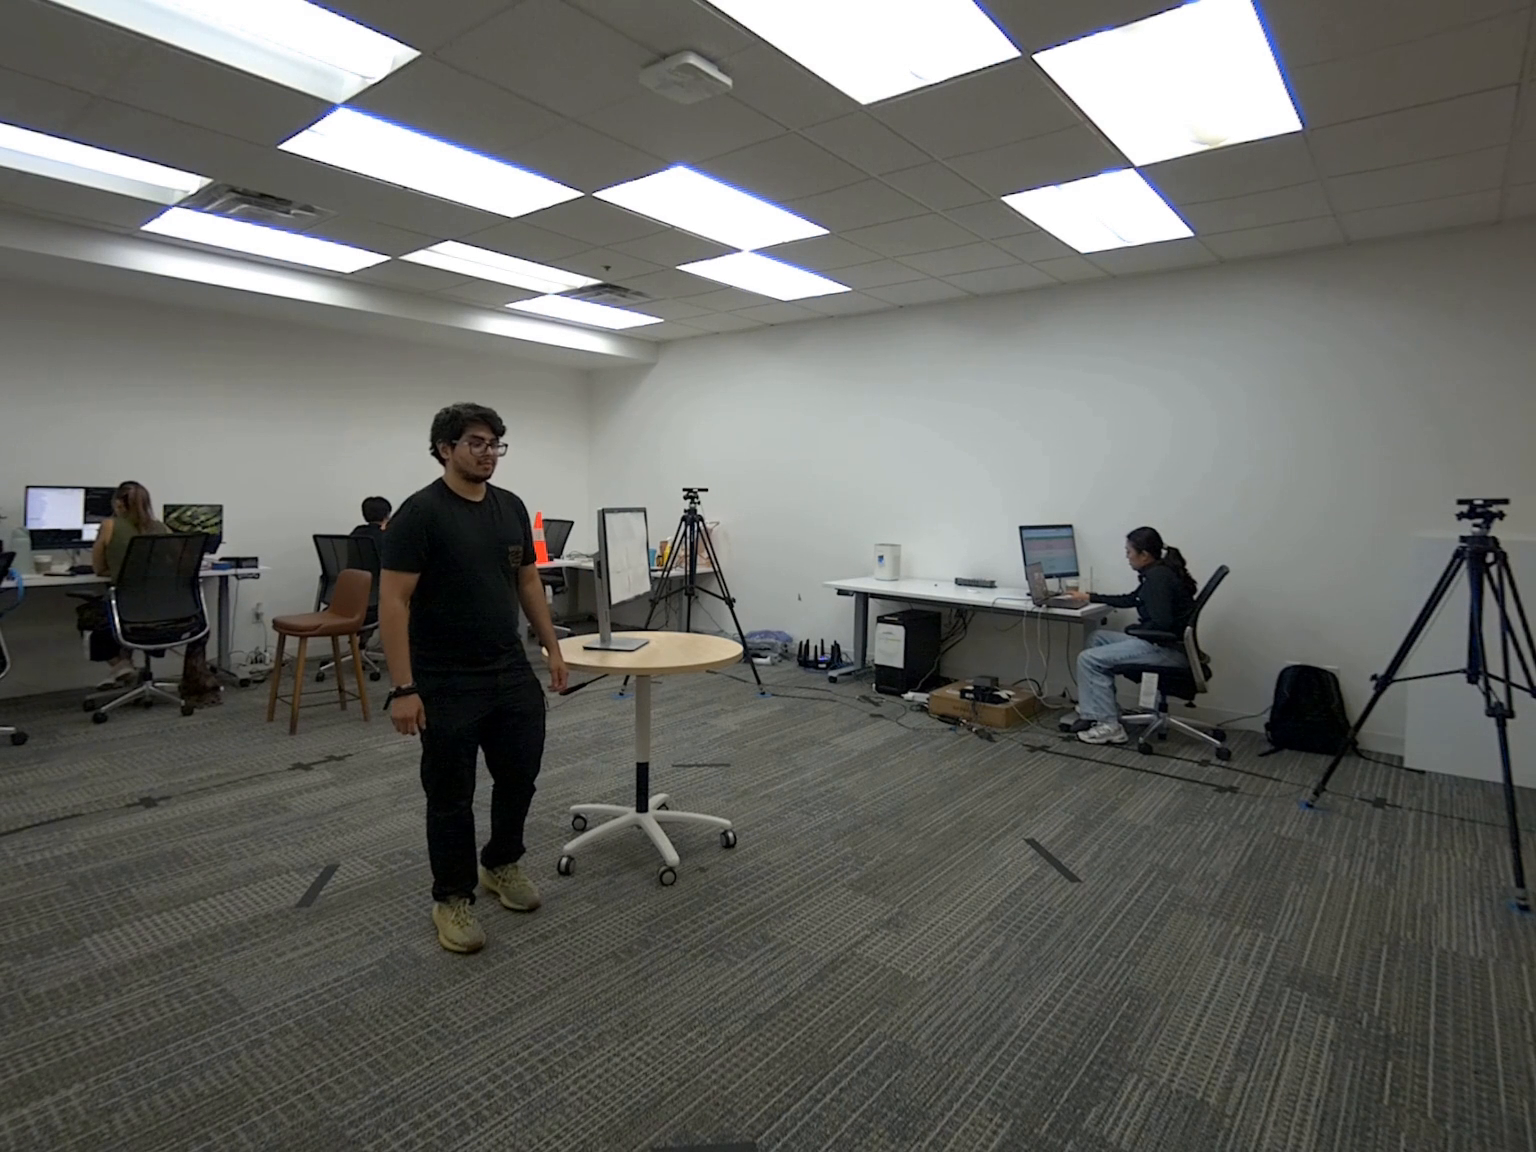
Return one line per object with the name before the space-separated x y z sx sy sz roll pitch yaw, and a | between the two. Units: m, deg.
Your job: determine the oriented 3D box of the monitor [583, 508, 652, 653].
monitor | -0.619 0.004 3.299 0.212 0.553 0.561 -2 3 8
